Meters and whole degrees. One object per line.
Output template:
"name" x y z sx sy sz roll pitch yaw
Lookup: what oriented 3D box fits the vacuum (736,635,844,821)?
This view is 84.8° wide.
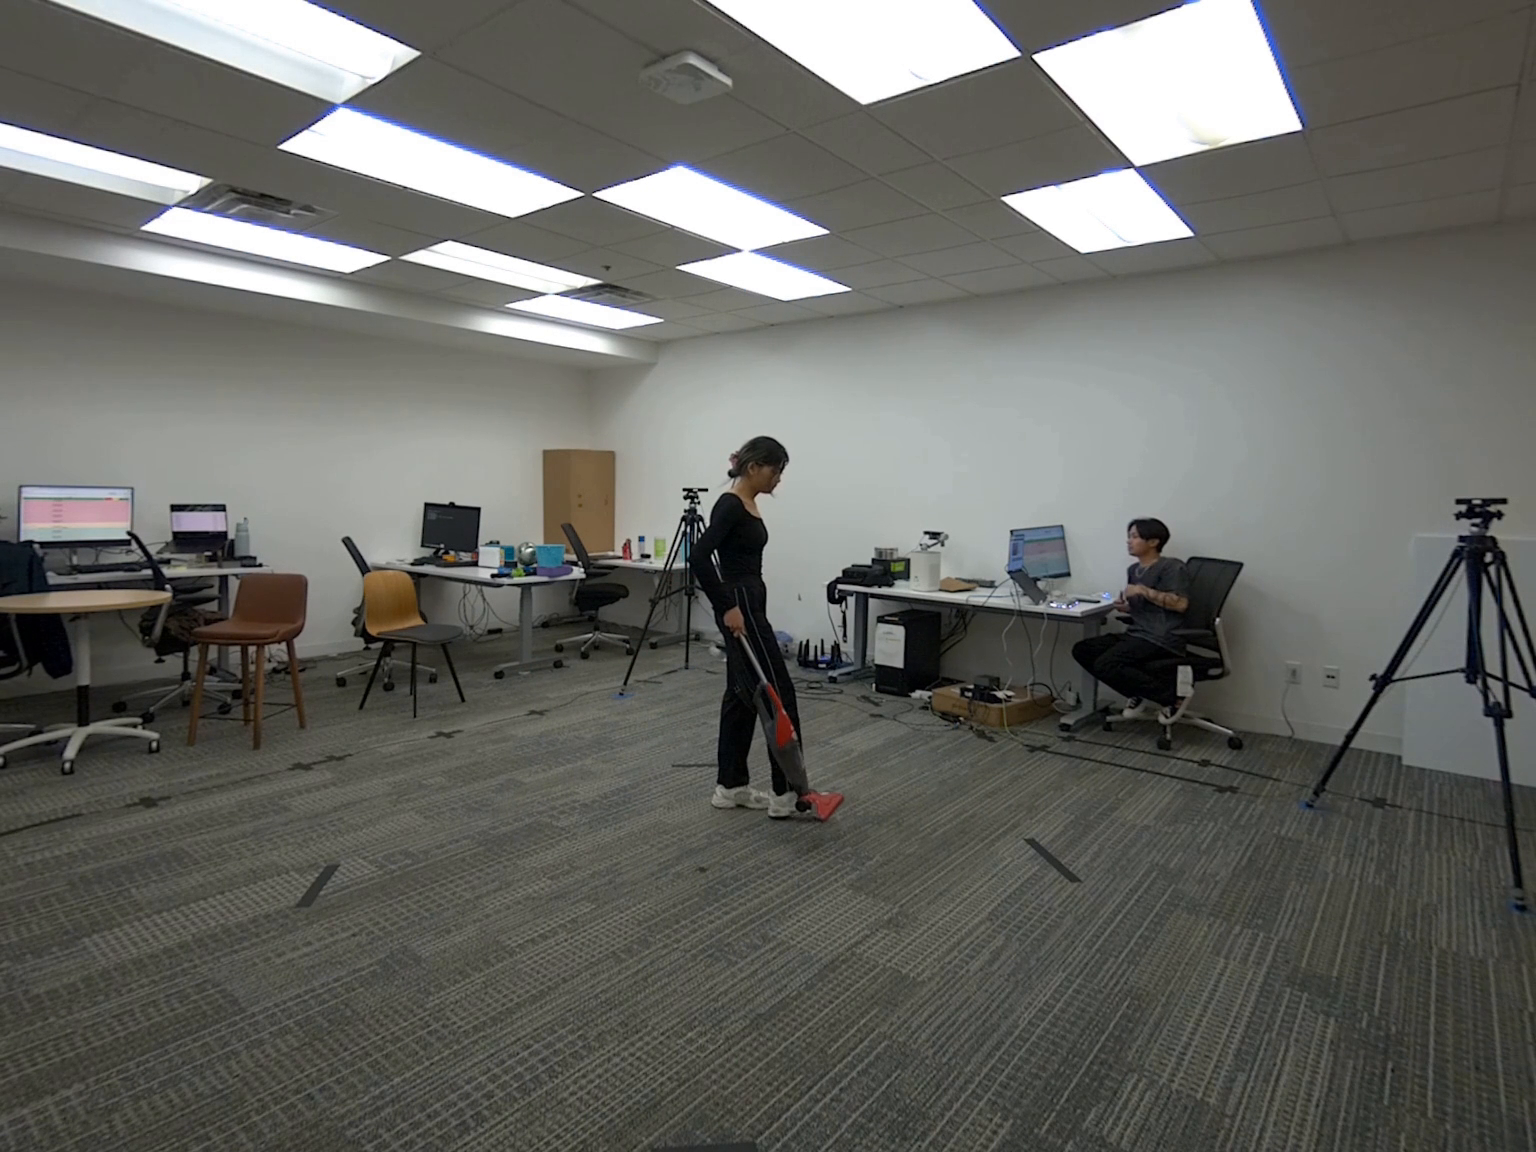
"vacuum" -0.034 0.450 3.451 0.145 1.061 0.247 -31 -9 30
